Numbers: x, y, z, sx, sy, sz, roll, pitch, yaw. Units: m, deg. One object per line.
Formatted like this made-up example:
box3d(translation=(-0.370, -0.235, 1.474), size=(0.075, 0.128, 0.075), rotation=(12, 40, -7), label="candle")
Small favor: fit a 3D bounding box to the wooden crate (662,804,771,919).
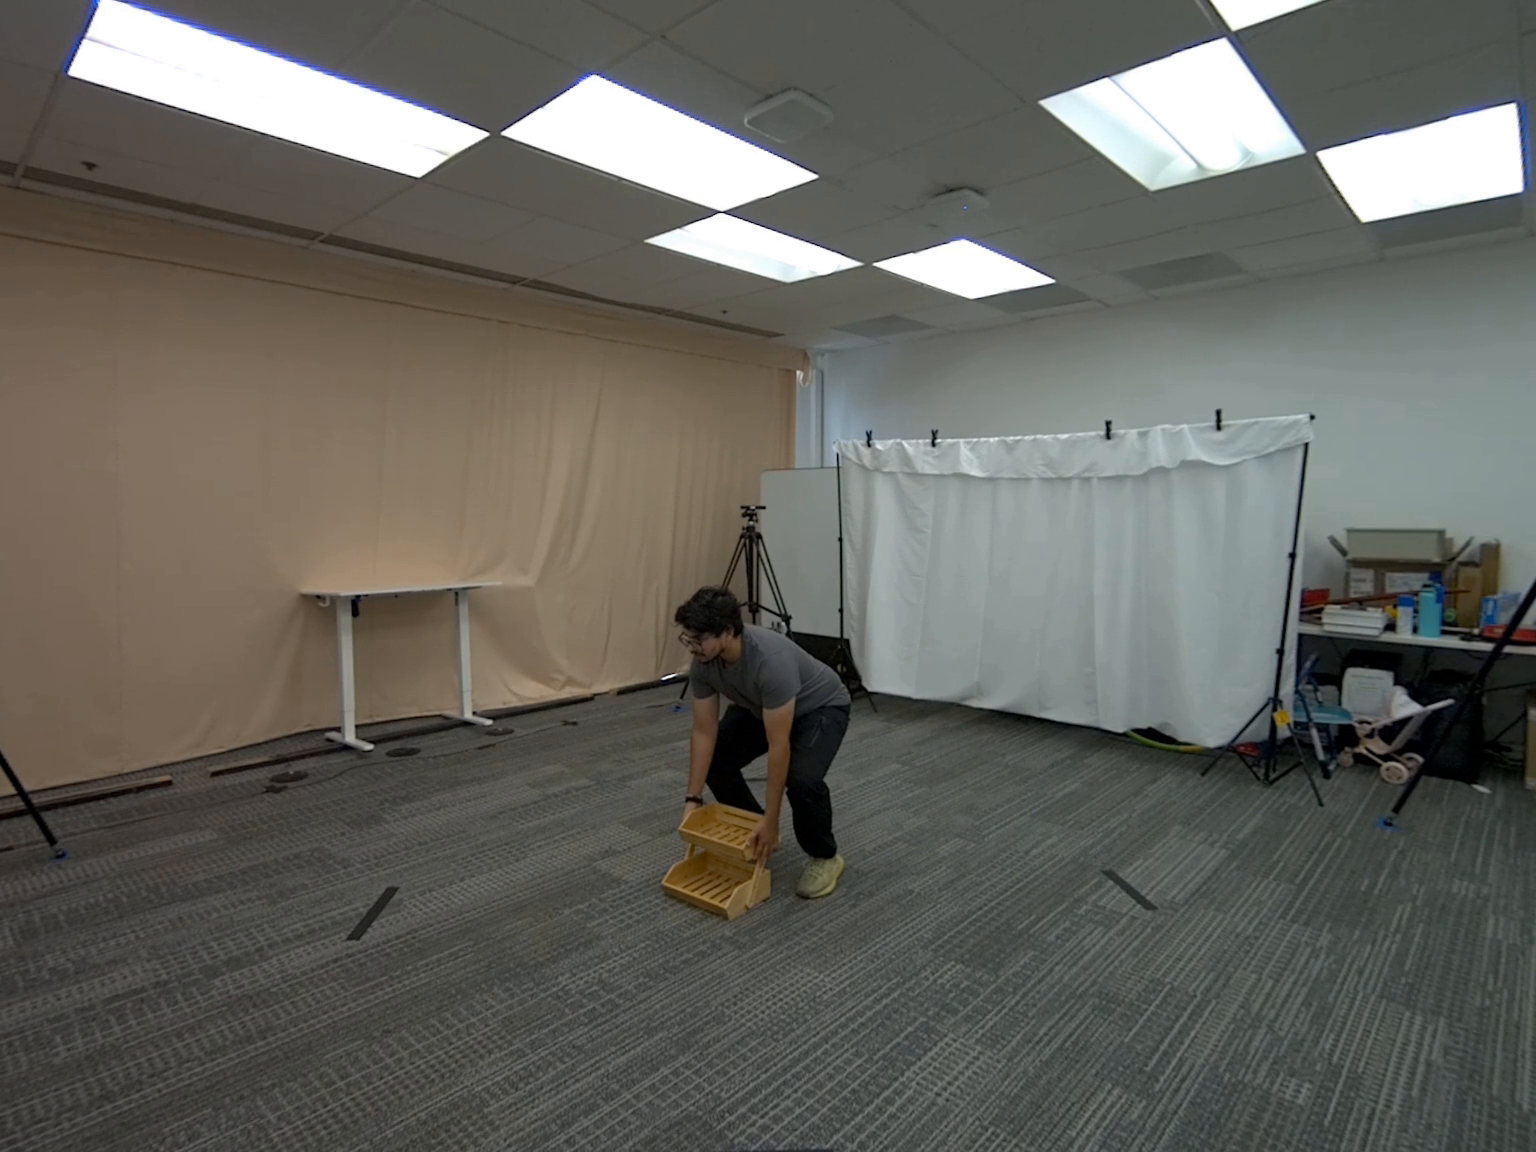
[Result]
box3d(translation=(-0.169, 0.999, 3.022), size=(0.335, 0.273, 0.293), rotation=(2, 4, 38), label="wooden crate")
